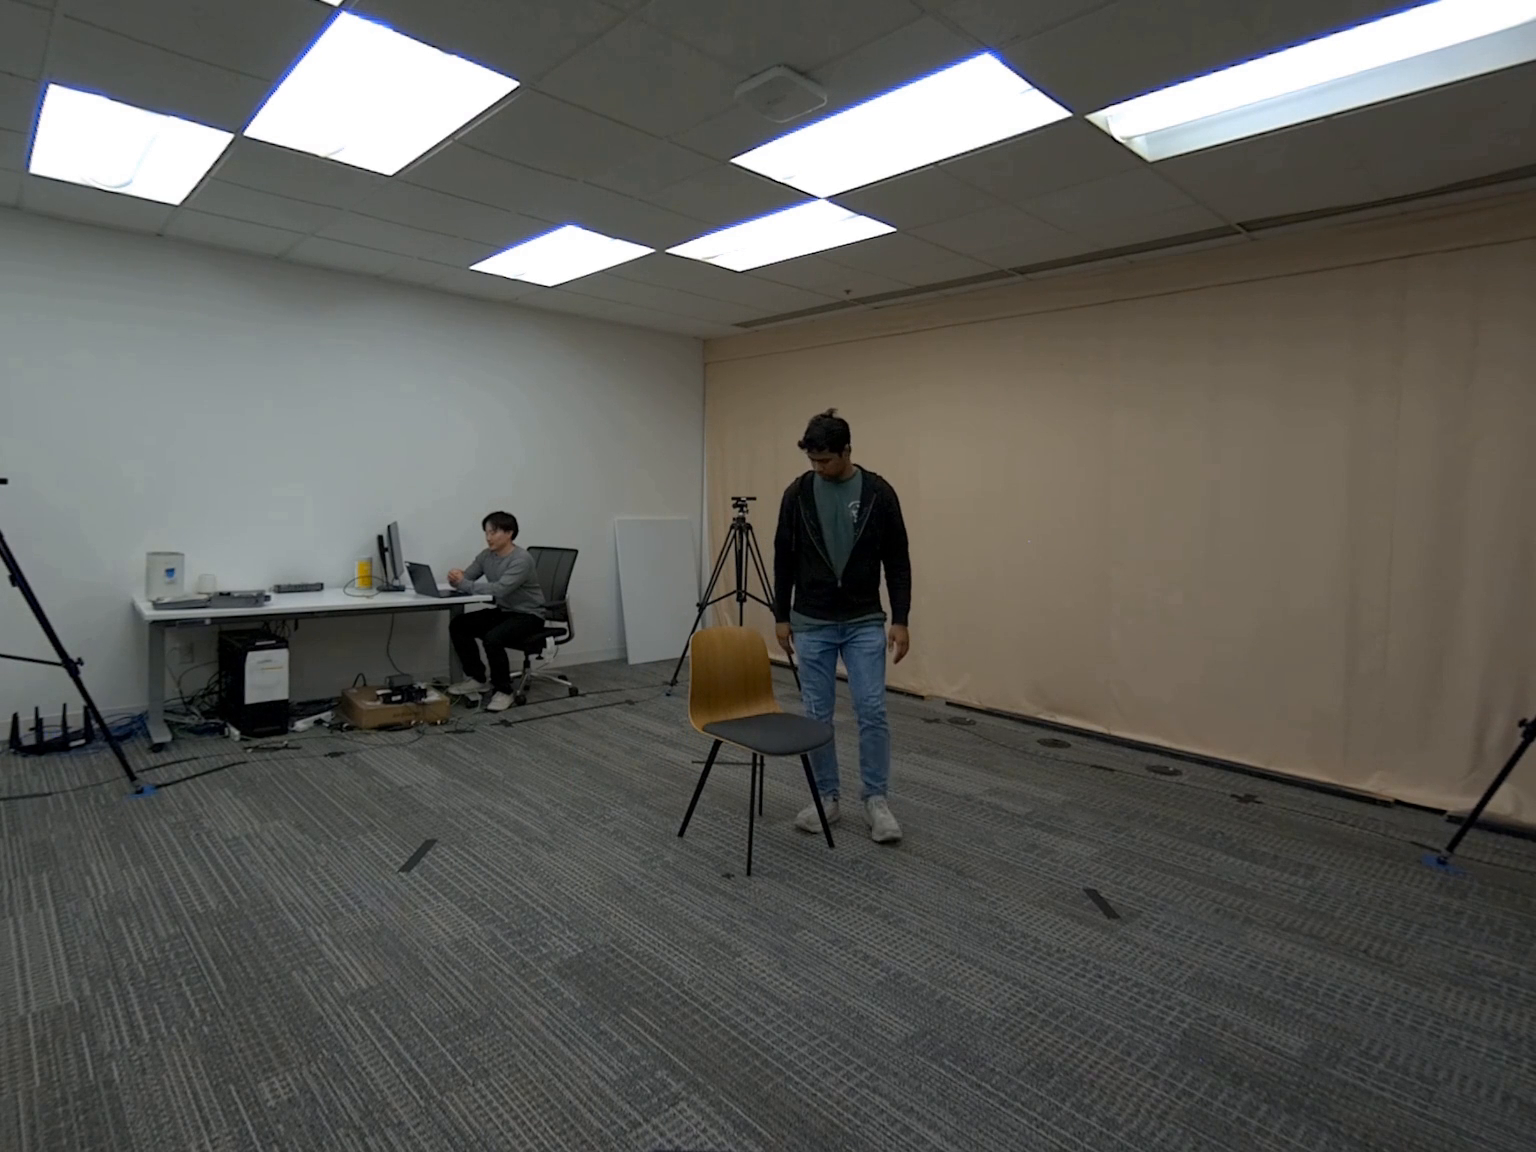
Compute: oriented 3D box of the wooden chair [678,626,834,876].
[{"bbox_3d":[-0.048,0.659,3.375,0.467,0.878,0.535,0,-1,-39],"label":"wooden chair"}]
